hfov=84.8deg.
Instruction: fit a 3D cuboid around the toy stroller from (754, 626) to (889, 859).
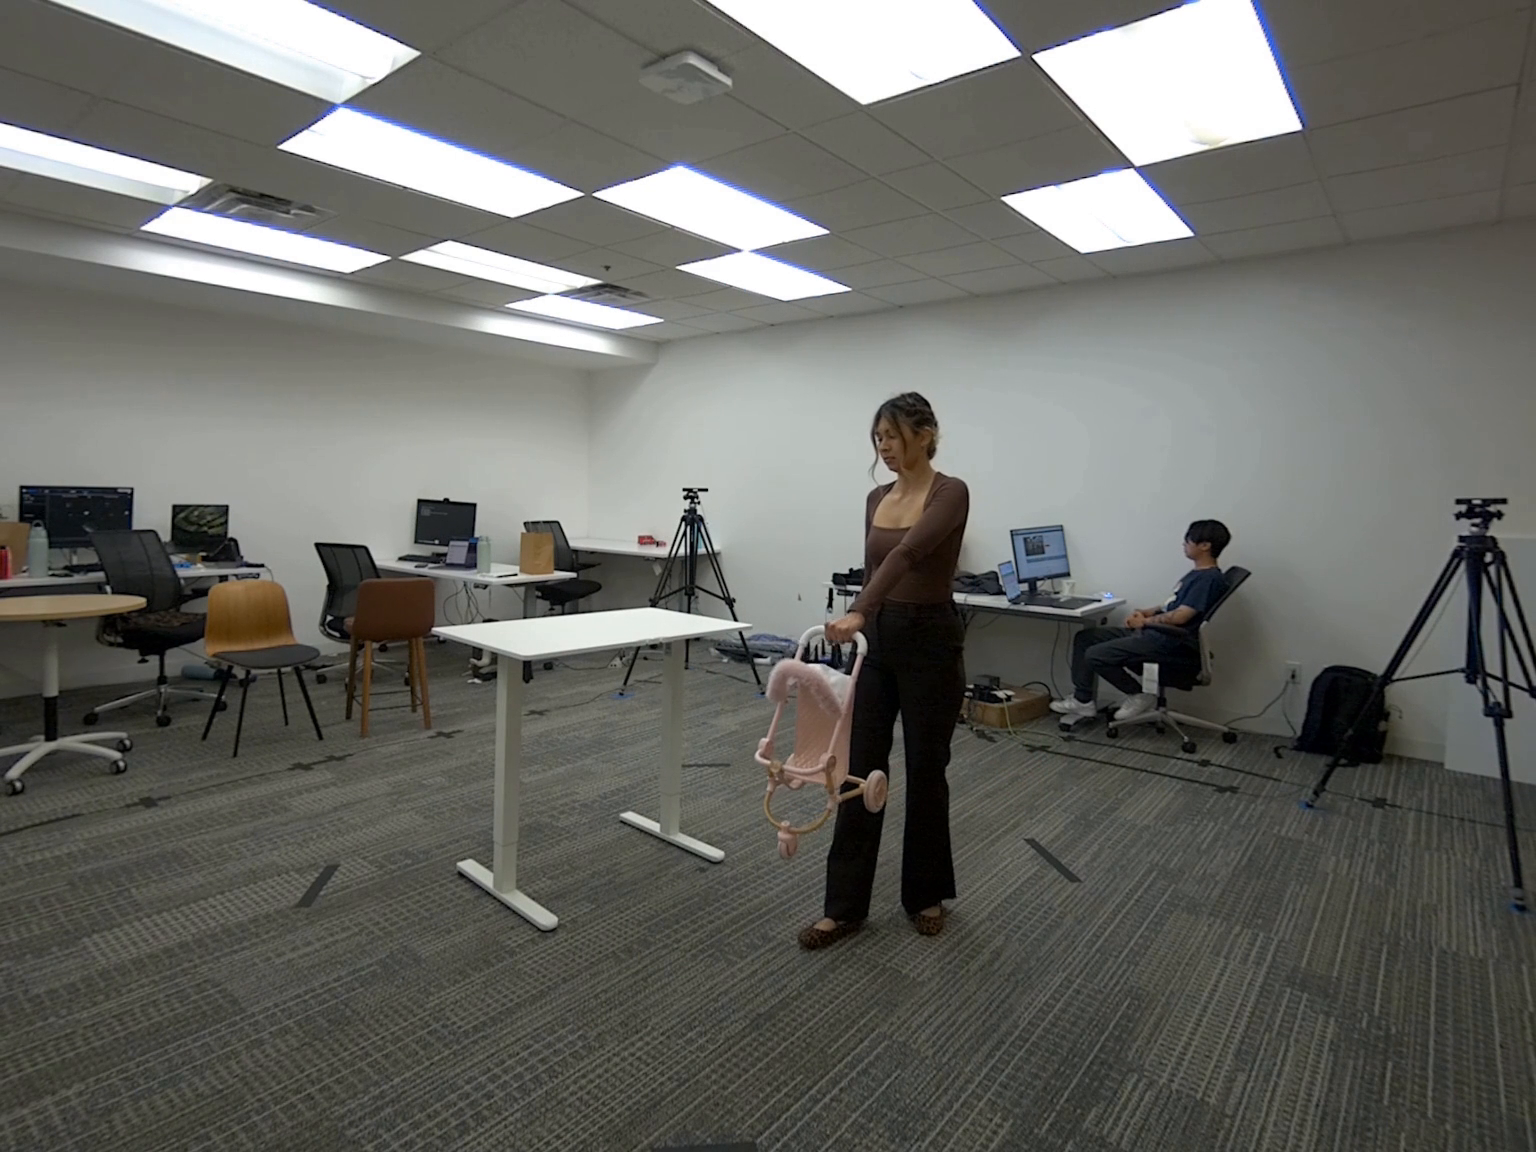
[{"bbox_3d":[0.102,0.436,2.242,0.291,0.529,0.333,6,14,41],"label":"toy stroller"}]
